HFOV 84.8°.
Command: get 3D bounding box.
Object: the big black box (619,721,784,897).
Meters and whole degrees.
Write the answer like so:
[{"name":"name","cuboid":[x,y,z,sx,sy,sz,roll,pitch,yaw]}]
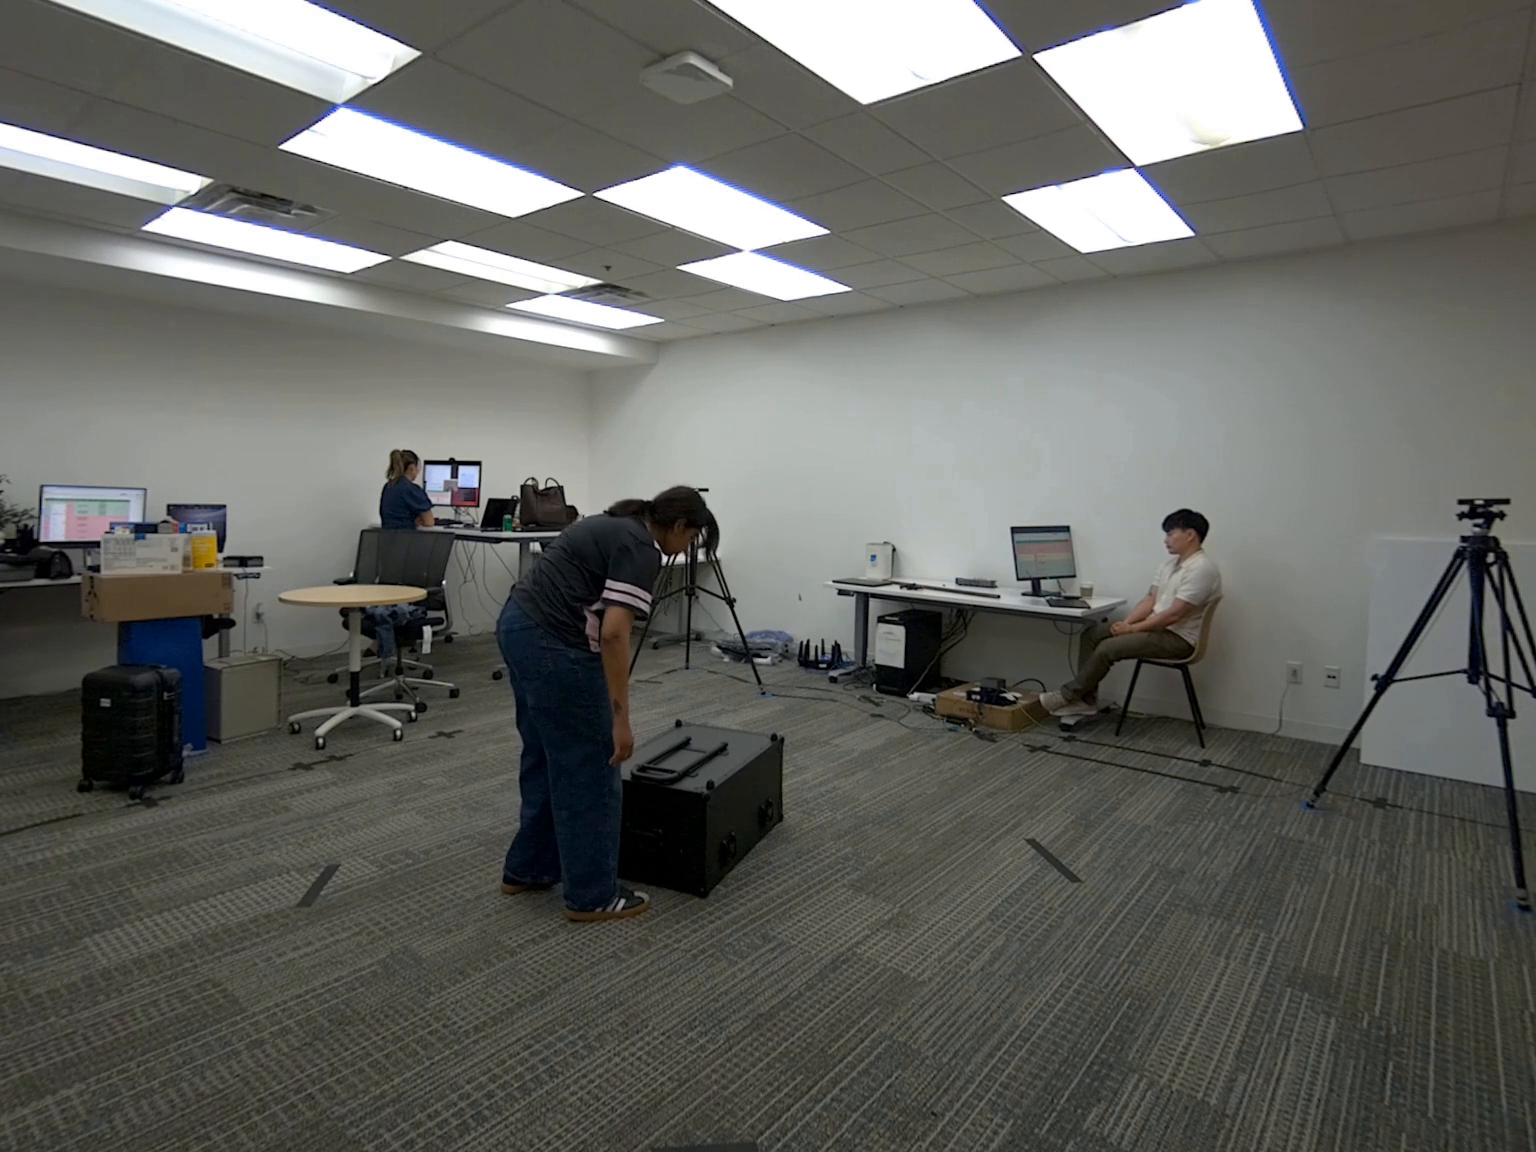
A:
[{"name":"big black box","cuboid":[-0.300,0.857,3.360,0.535,0.384,0.852,1,5,21]}]
